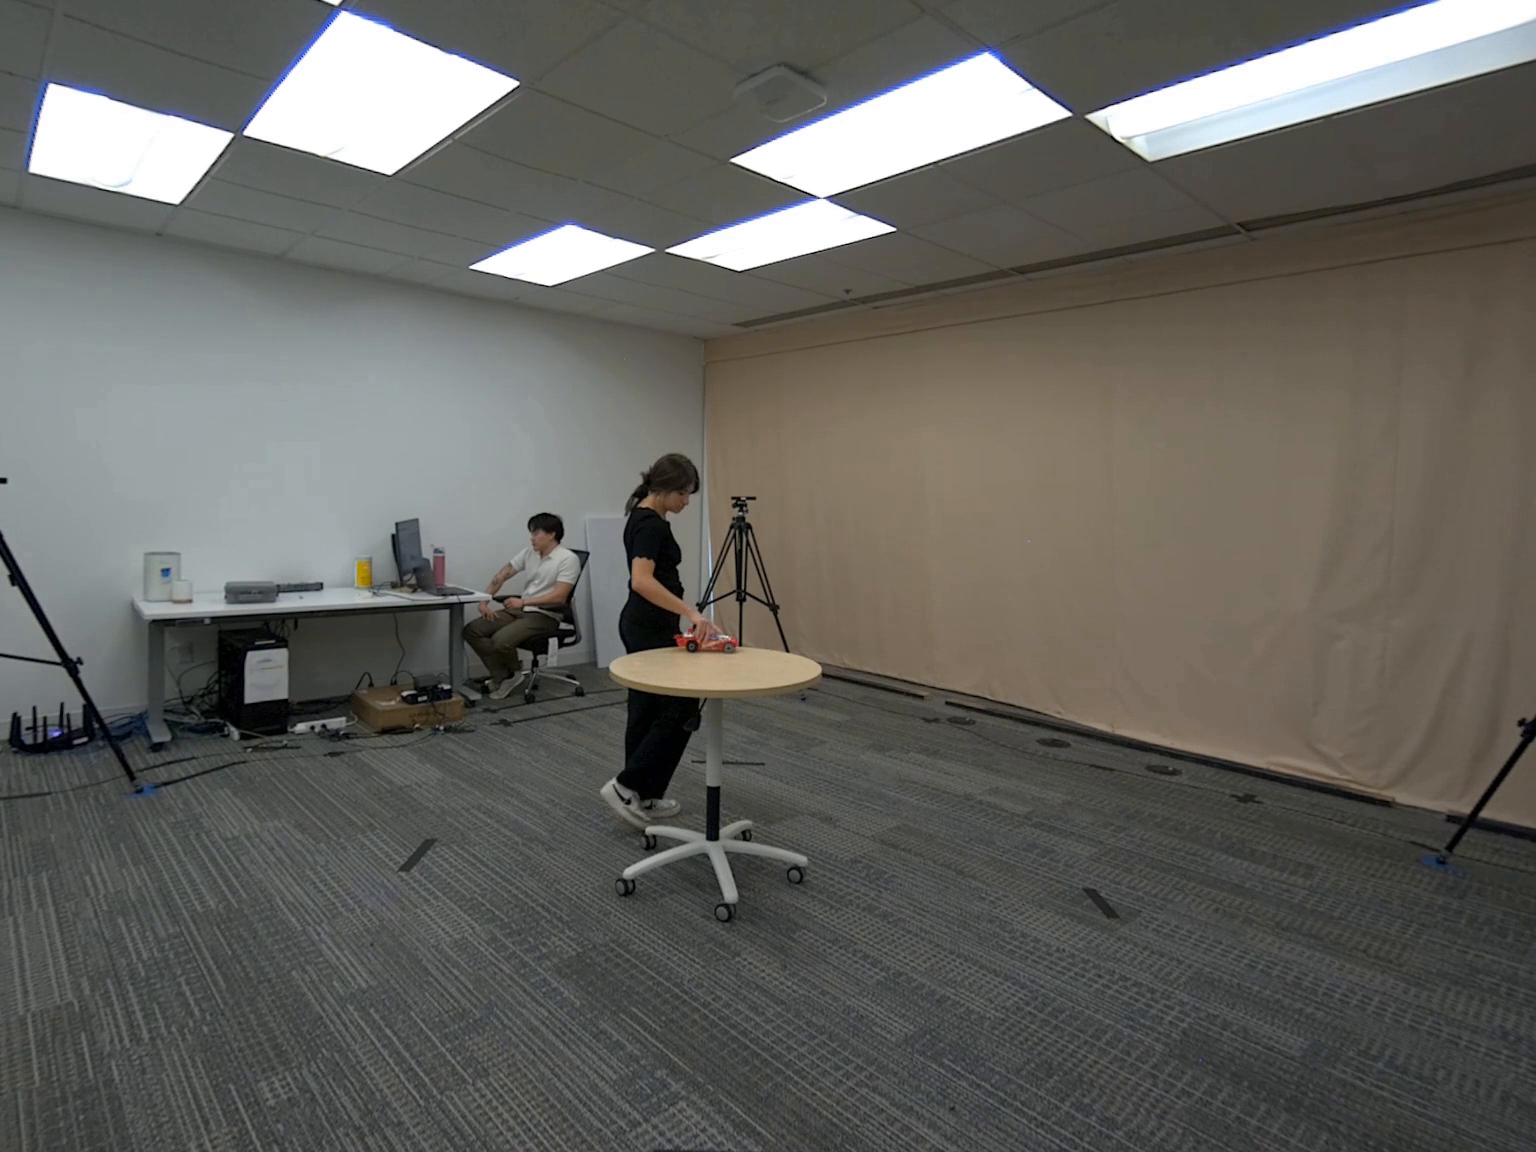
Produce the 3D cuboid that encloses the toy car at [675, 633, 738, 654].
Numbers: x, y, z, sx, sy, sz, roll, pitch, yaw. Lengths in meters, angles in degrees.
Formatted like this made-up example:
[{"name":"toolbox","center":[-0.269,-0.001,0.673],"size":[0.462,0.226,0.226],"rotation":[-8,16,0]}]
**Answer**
[{"name":"toy car","center":[-0.261,0.266,3.331],"size":[0.255,0.083,0.130],"rotation":[12,4,0]}]
